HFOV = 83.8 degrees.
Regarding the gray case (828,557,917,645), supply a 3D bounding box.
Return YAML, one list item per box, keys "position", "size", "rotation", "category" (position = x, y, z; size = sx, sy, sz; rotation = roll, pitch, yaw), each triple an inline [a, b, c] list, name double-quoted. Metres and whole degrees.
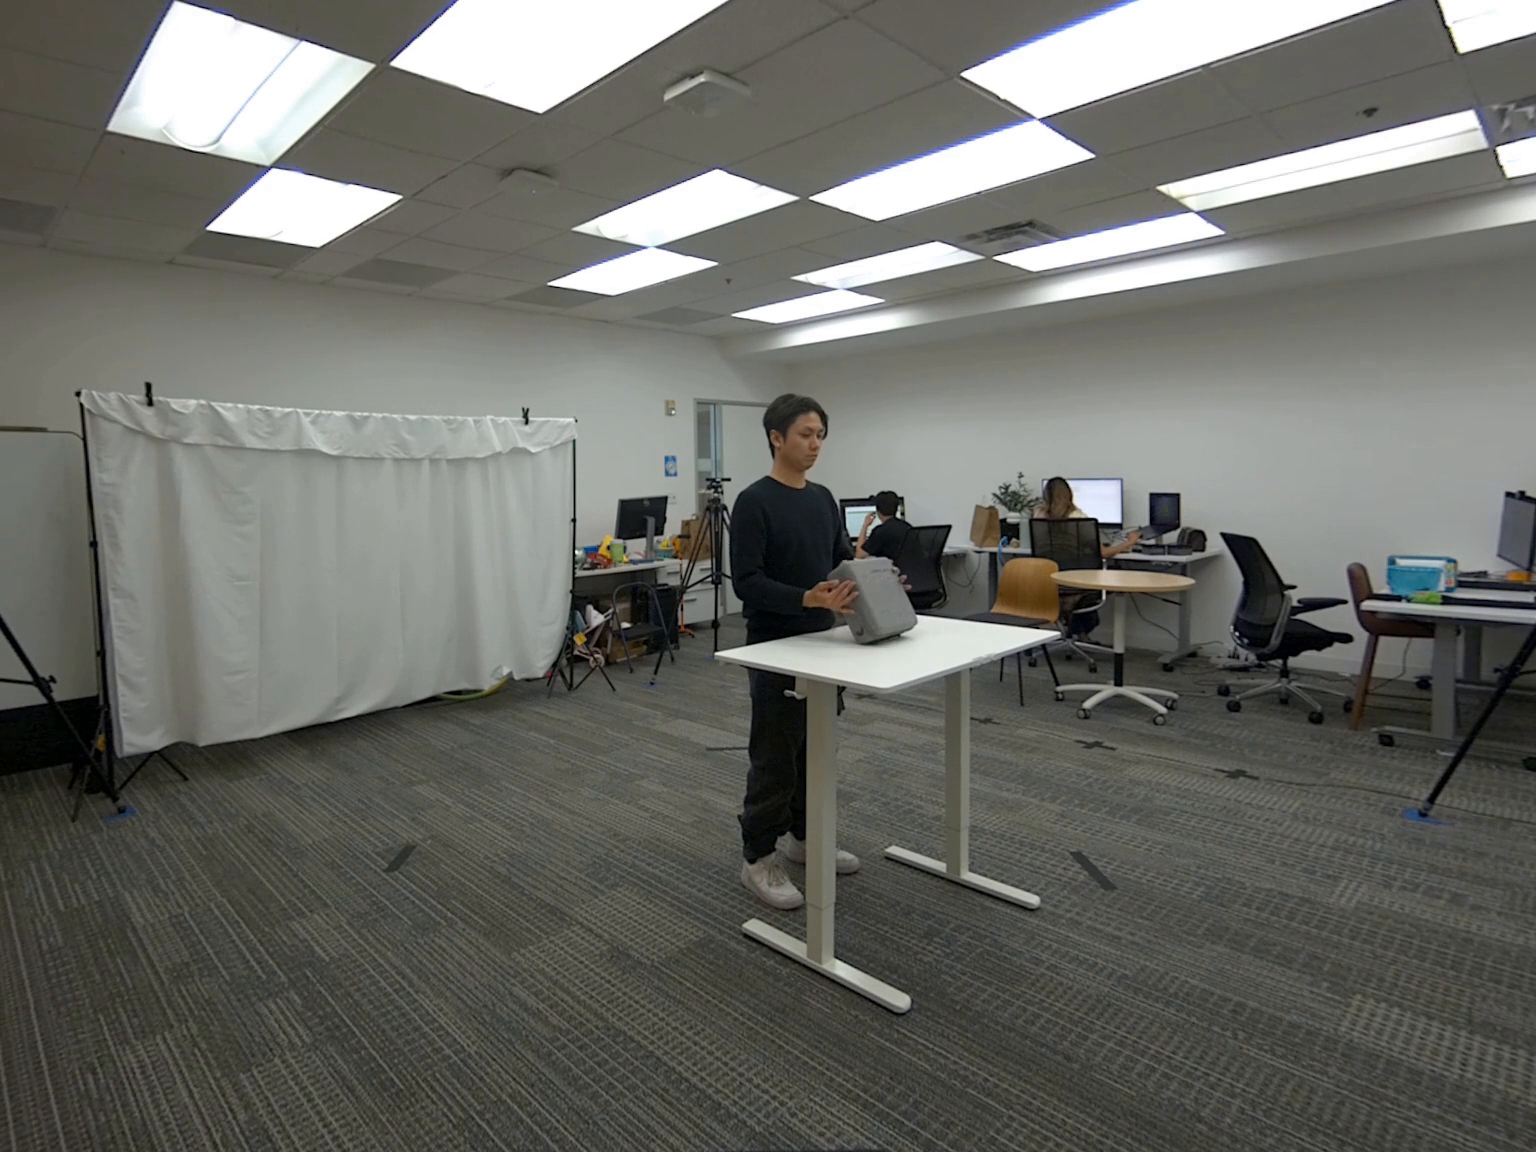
- position: [0.340, 0.077, 2.690]
  size: [0.105, 0.265, 0.250]
  rotation: [-32, -18, 36]
  category: "gray case"
